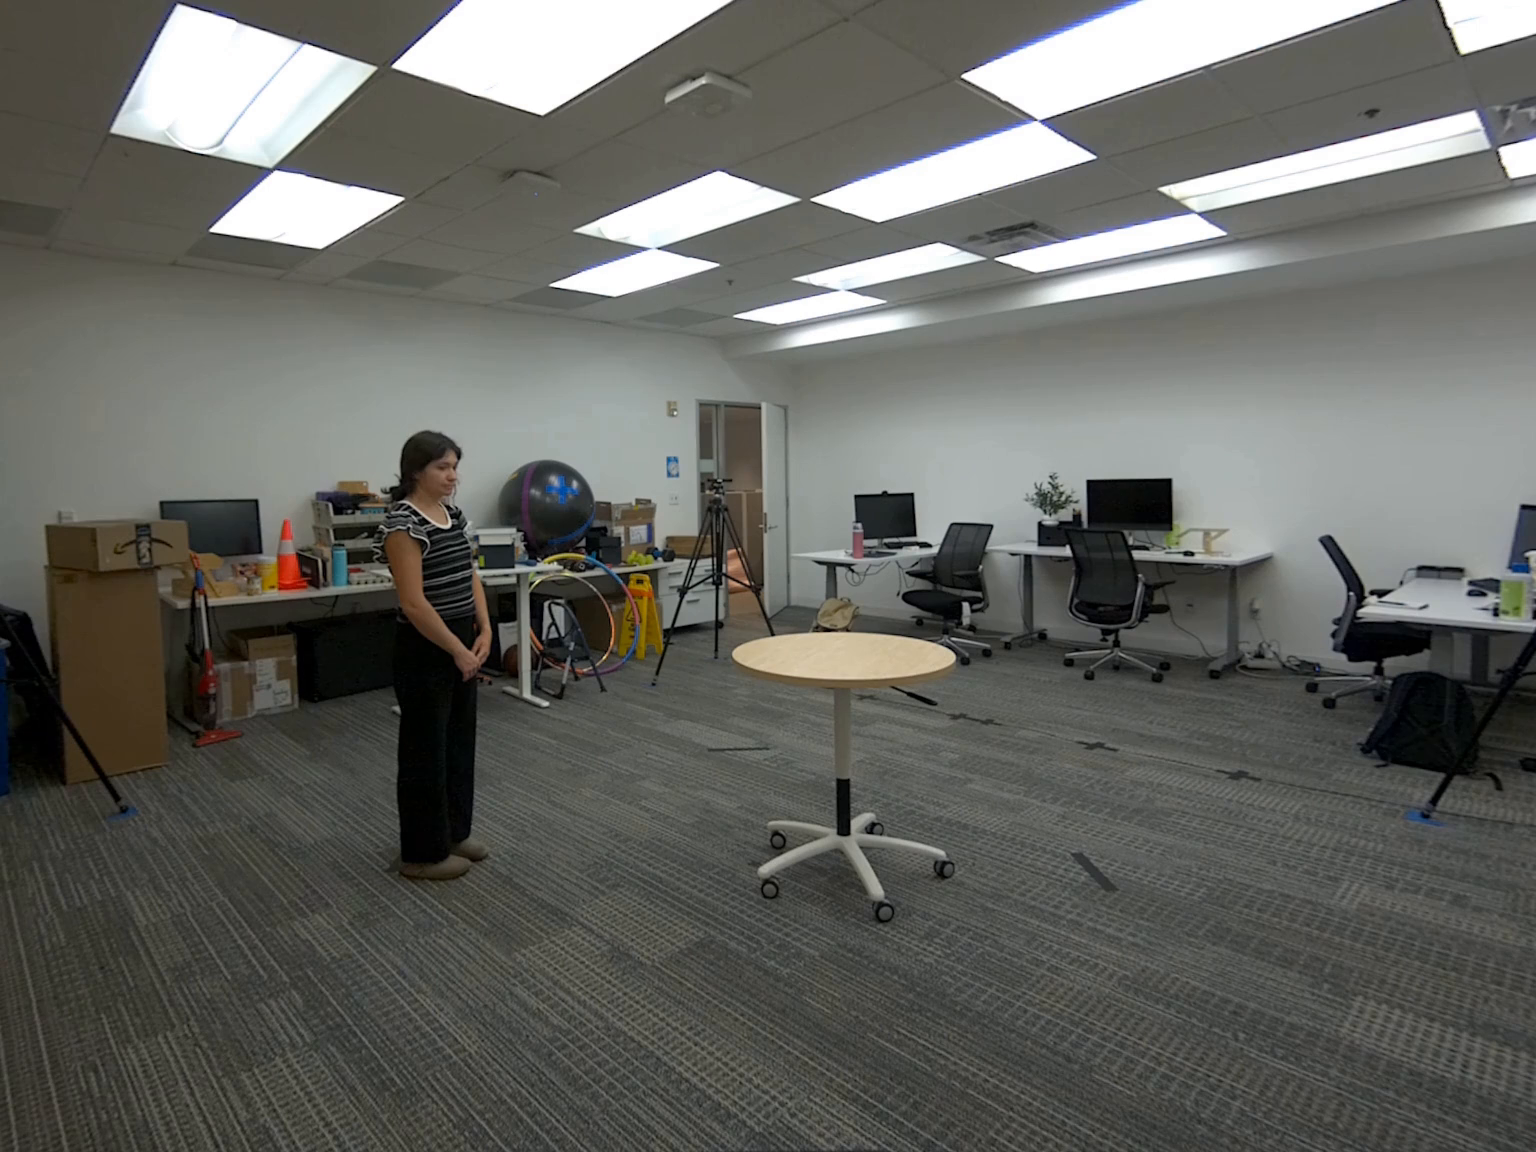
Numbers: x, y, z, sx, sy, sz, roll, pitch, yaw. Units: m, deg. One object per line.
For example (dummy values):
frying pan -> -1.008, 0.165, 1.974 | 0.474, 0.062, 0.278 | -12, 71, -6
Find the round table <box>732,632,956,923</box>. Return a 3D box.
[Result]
round table -> 0.262, 0.651, 3.011 | 0.784, 0.783, 0.789 | -1, 5, -2
